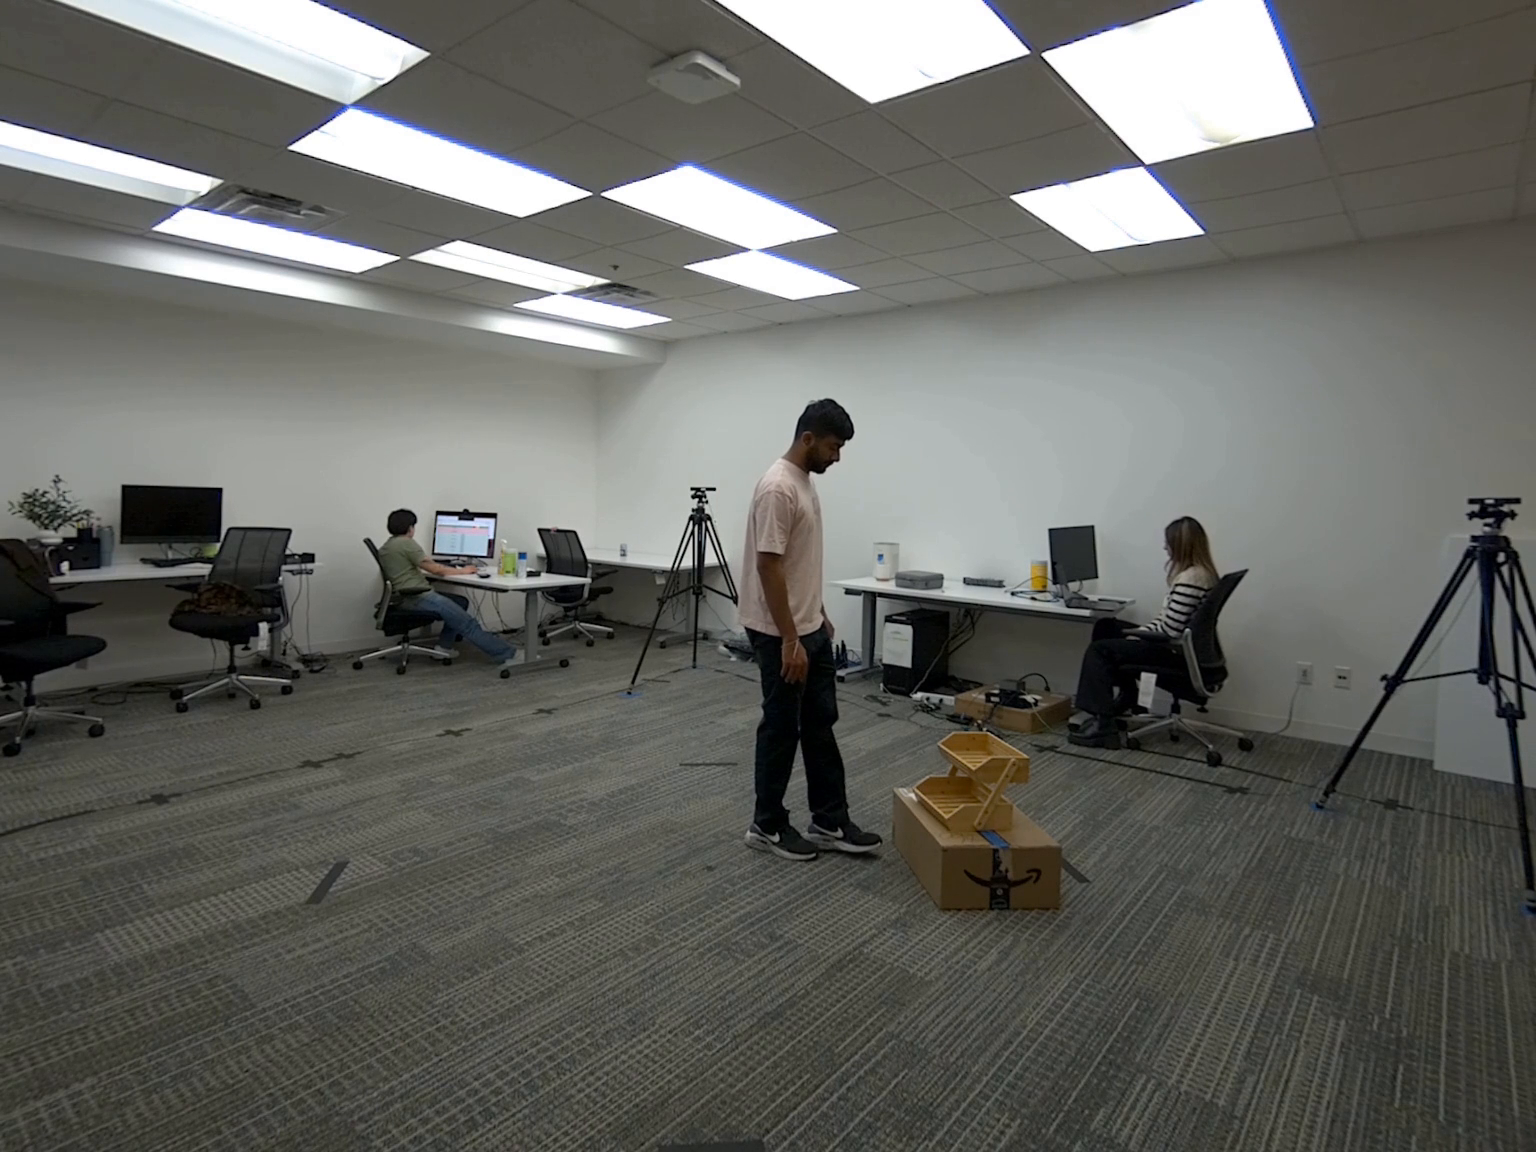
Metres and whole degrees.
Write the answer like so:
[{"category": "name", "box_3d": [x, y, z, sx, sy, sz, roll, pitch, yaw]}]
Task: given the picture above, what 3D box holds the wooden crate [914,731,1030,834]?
[{"category": "wooden crate", "box_3d": [0.738, 0.745, 3.131, 0.298, 0.272, 0.330, 2, 5, -13]}]
